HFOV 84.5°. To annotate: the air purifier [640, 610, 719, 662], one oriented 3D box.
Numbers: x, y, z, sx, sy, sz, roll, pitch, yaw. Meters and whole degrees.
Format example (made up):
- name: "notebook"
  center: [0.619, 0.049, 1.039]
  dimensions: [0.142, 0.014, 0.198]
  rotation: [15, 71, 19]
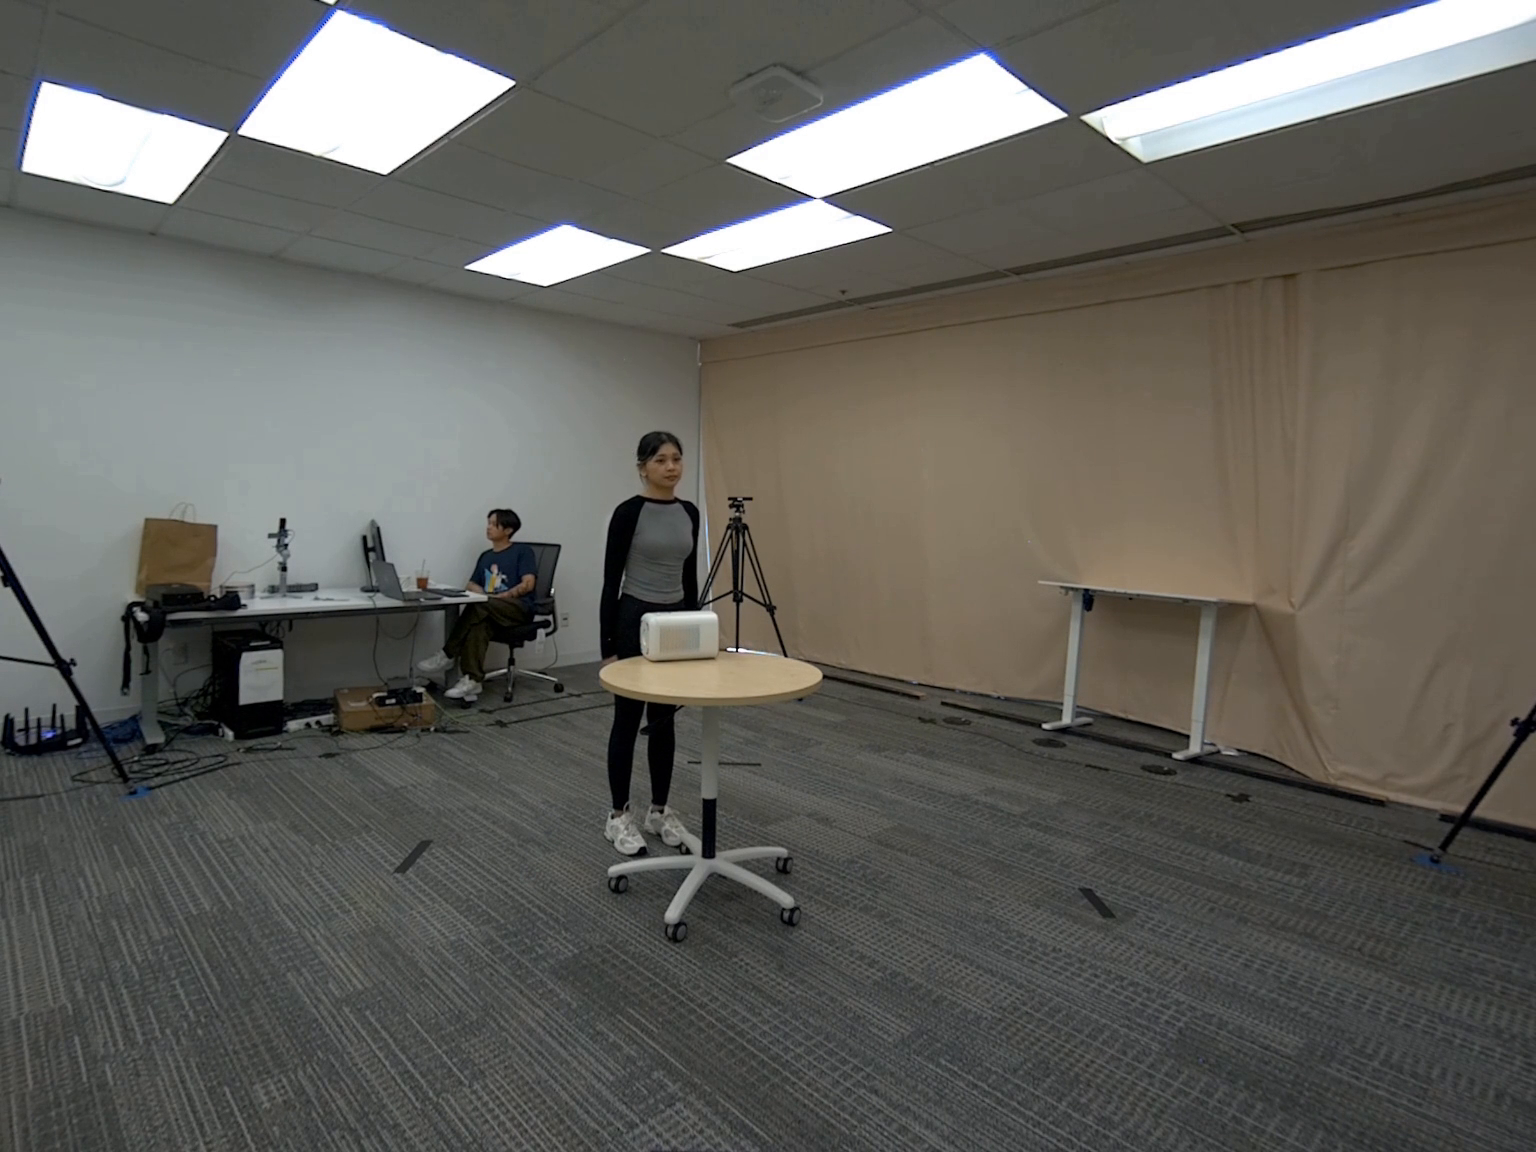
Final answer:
- name: "air purifier"
  center: [-0.339, 0.221, 3.134]
  dimensions: [0.261, 0.171, 0.174]
  rotation: [-1, 4, -21]
